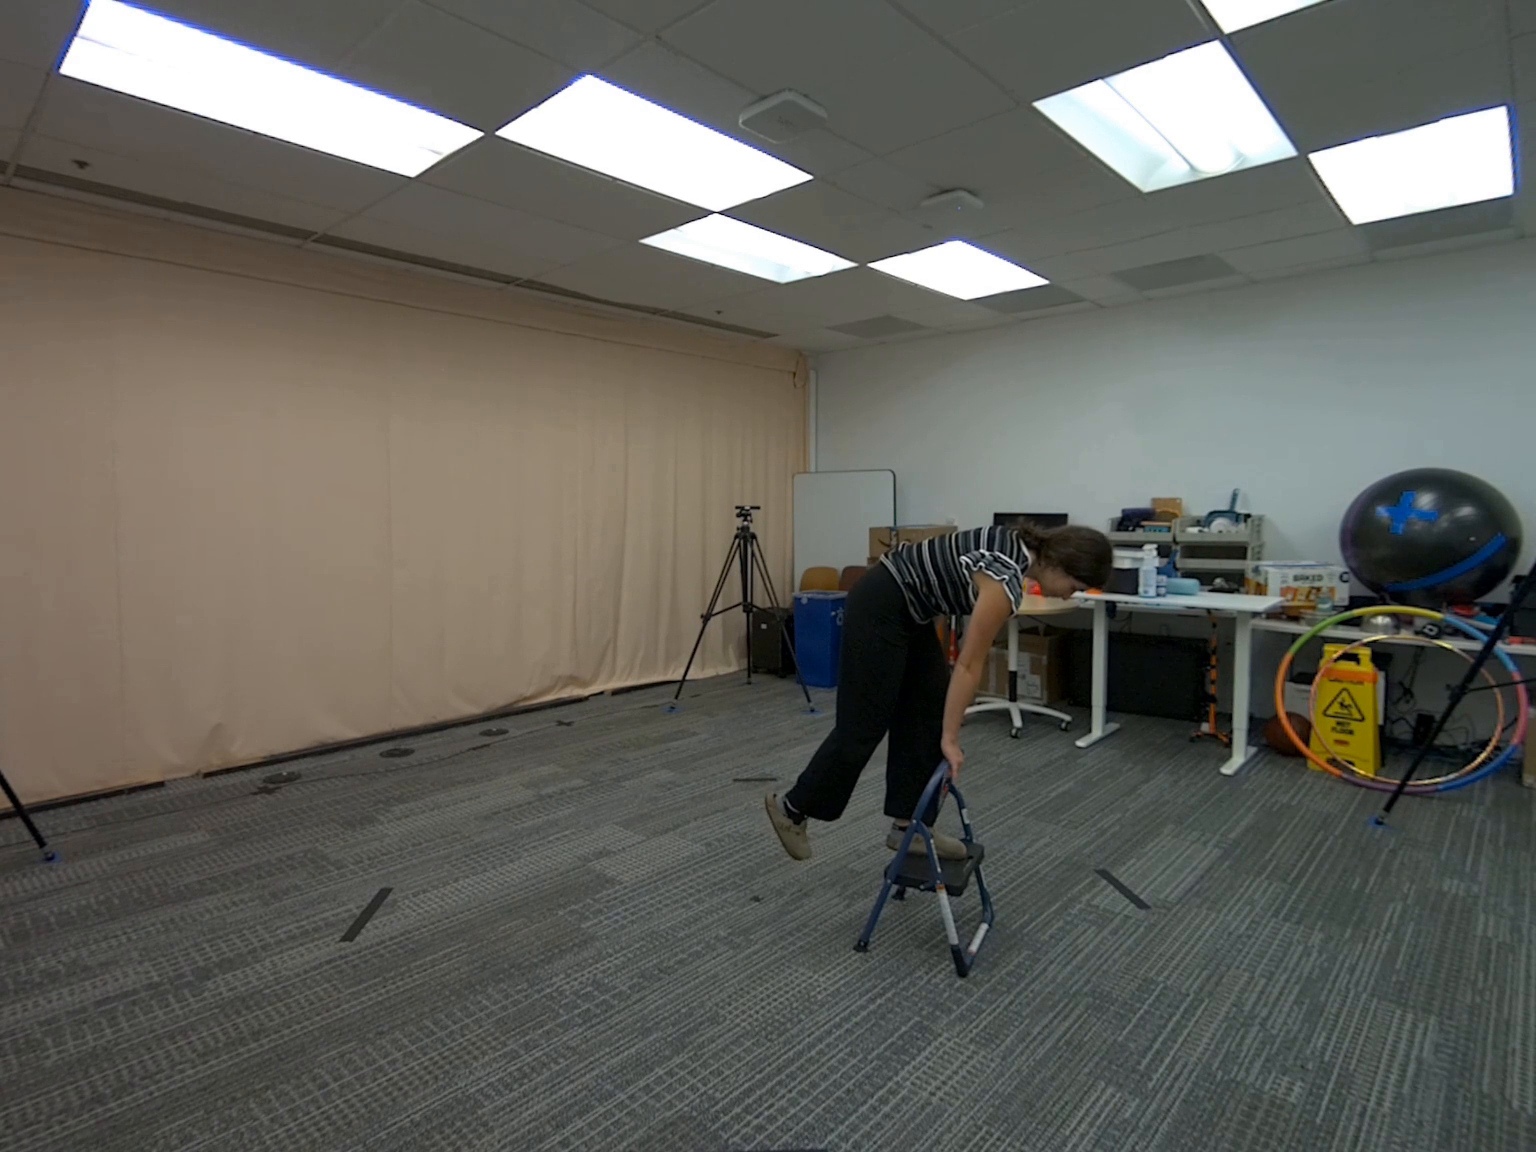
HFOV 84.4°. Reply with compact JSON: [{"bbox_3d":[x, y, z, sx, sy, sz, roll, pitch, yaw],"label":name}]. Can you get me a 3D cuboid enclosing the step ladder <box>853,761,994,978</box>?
[{"bbox_3d":[0.520,0.864,2.718,0.359,0.604,0.420,2,4,27],"label":"step ladder"}]
